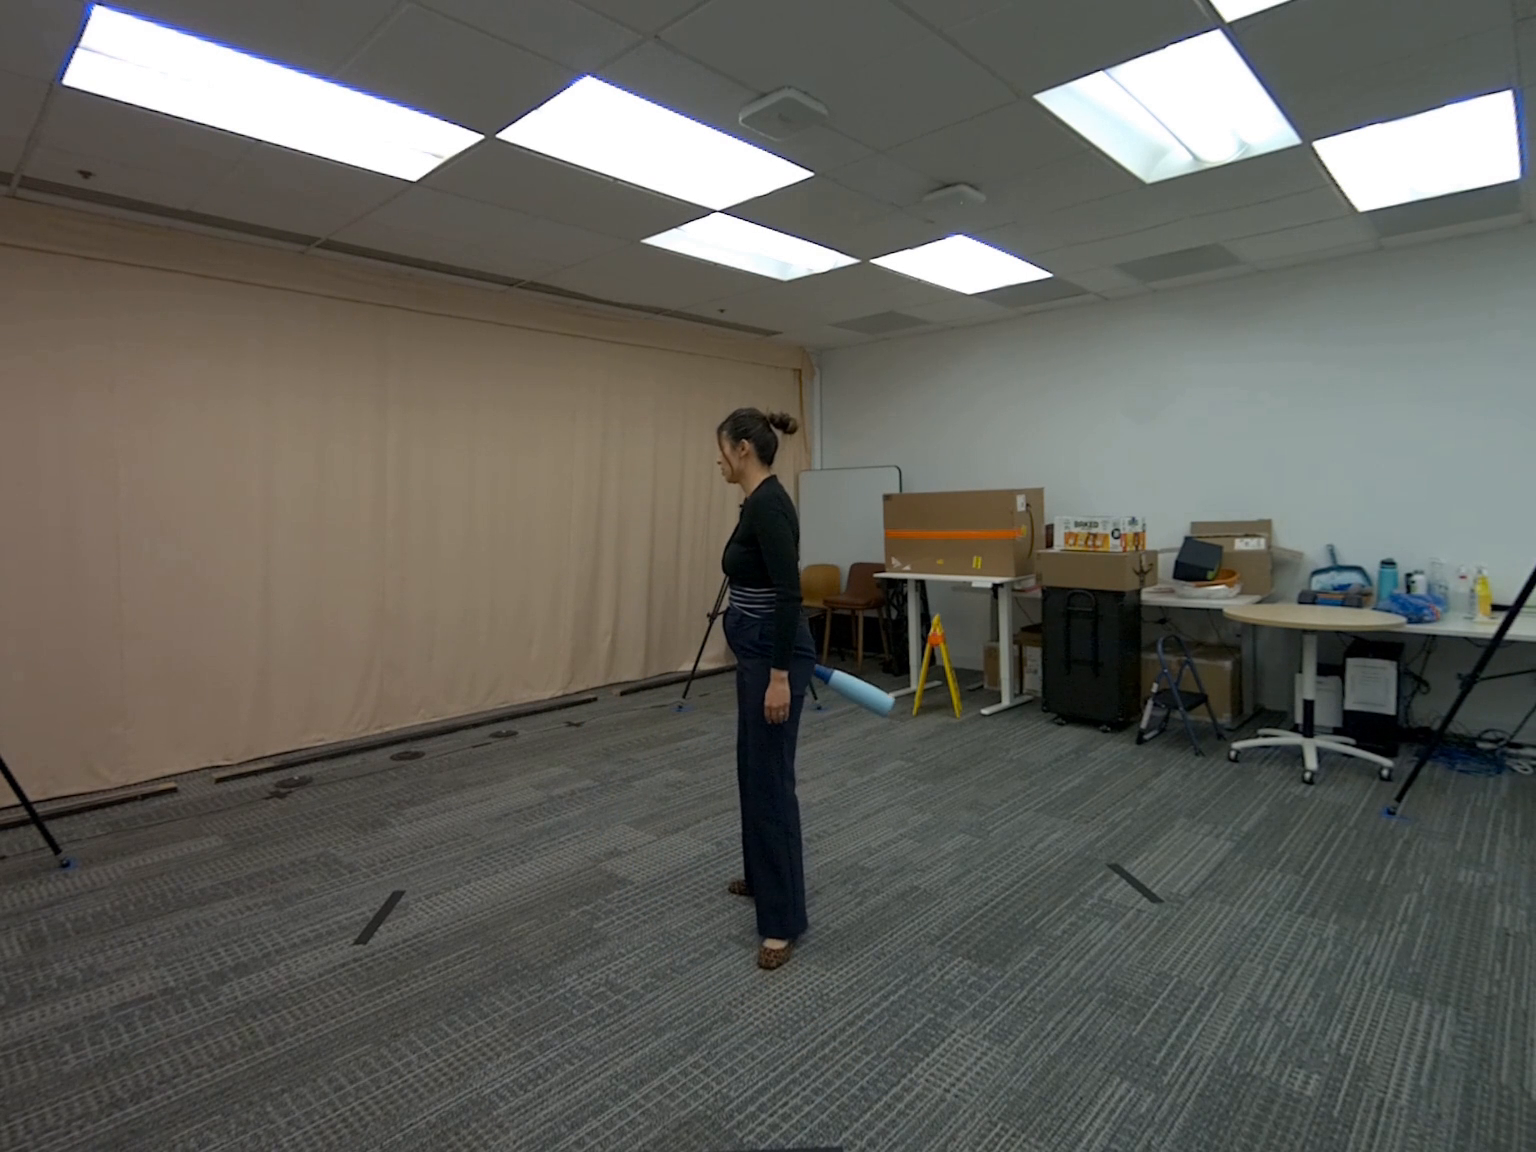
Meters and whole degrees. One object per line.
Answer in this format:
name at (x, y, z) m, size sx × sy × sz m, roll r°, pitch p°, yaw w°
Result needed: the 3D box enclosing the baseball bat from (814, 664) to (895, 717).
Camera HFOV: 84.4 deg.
baseball bat at (0.218, 0.377, 3.199) m, size 0.552 × 0.089 × 0.088 m, roll 26°, pitch 10°, yaw 13°
